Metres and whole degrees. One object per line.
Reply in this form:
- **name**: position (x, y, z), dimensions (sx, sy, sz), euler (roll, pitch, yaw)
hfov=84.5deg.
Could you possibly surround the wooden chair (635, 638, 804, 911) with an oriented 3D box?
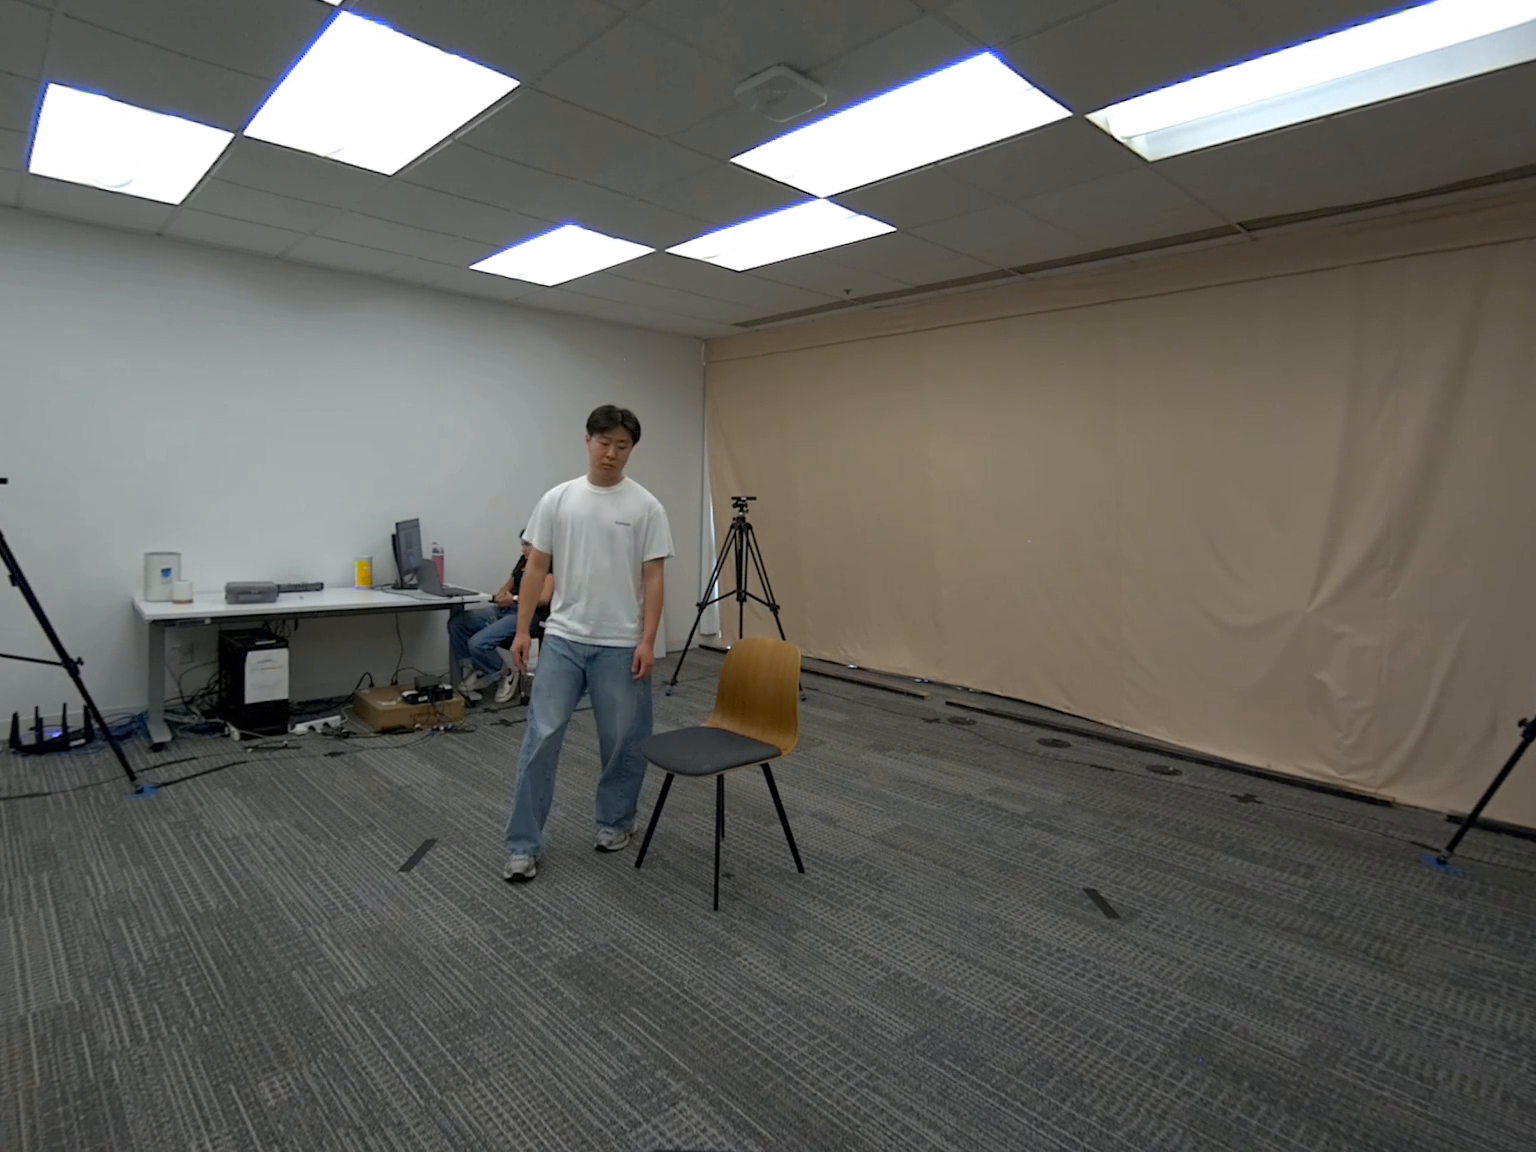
- **wooden chair**: position (-0.182, 0.677, 3.110), dimensions (0.490, 0.877, 0.510), euler (4, 0, 45)
